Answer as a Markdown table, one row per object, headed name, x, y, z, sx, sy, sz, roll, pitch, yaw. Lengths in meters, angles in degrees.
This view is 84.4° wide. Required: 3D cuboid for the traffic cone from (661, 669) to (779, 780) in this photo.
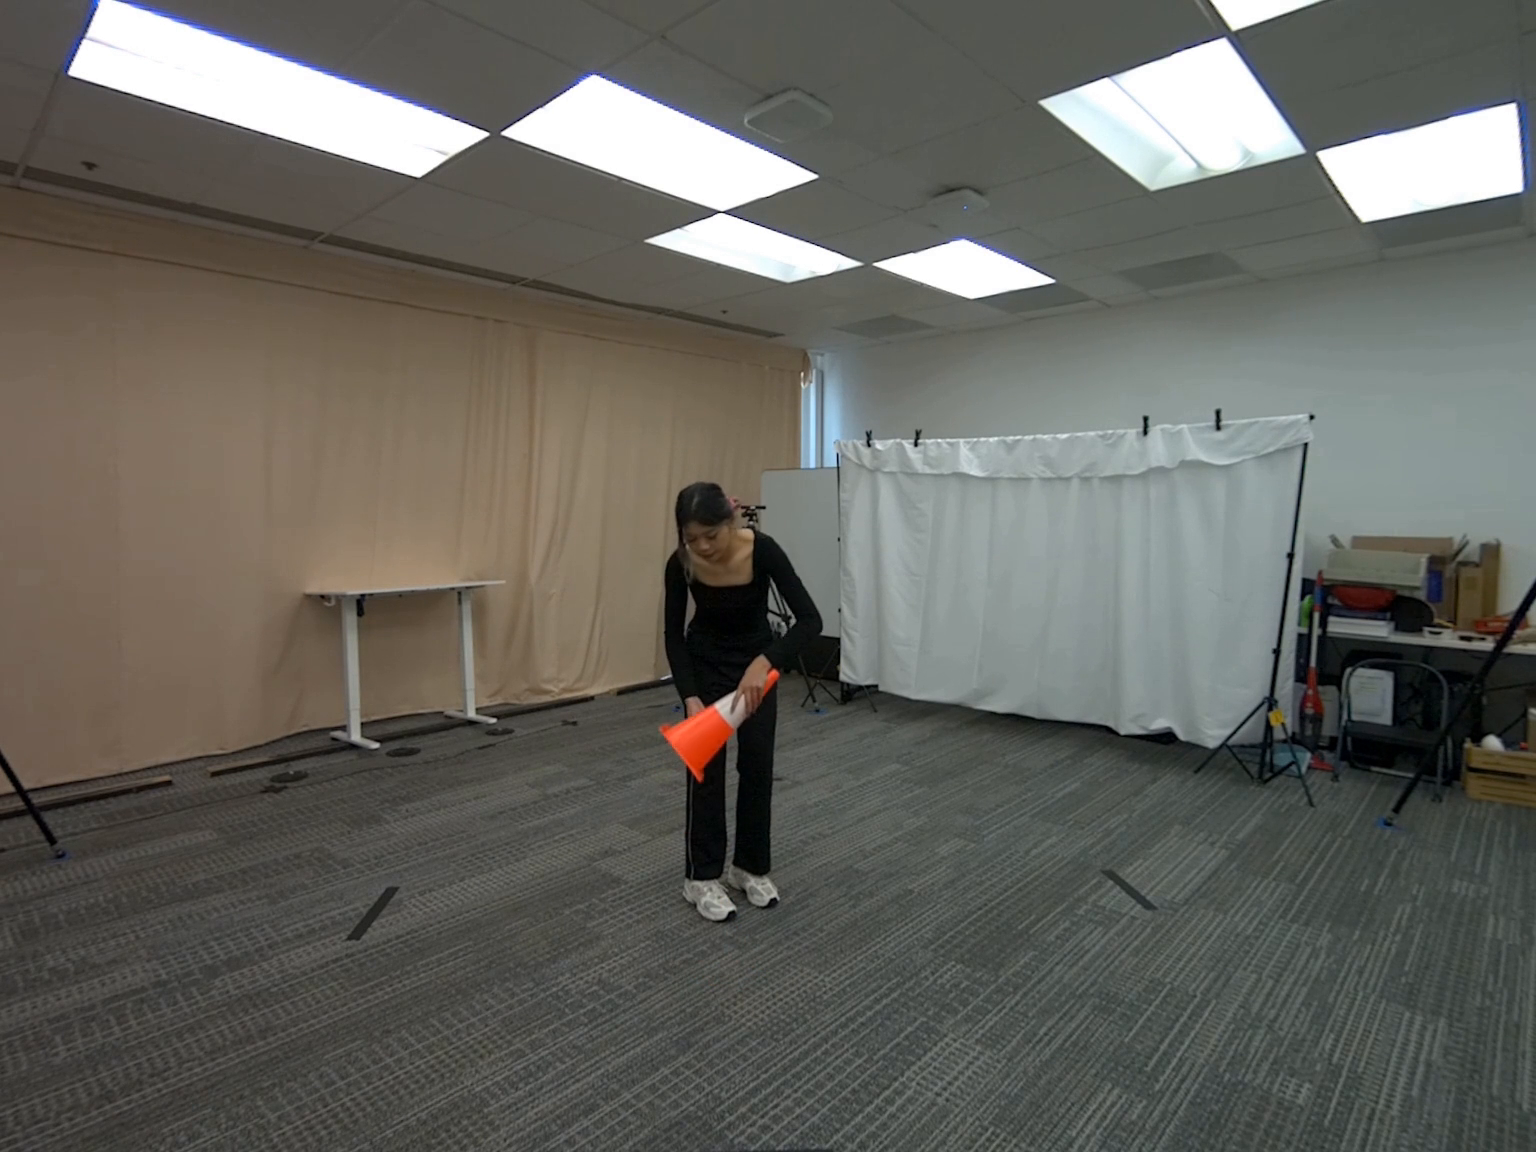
| name | x | y | z | sx | sy | sz | roll | pitch | yaw |
| --- | --- | --- | --- | --- | --- | --- | --- | --- | --- |
| traffic cone | -0.122 | 0.424 | 2.596 | 0.383 | 0.206 | 0.203 | -40 | -9 | -4 |
